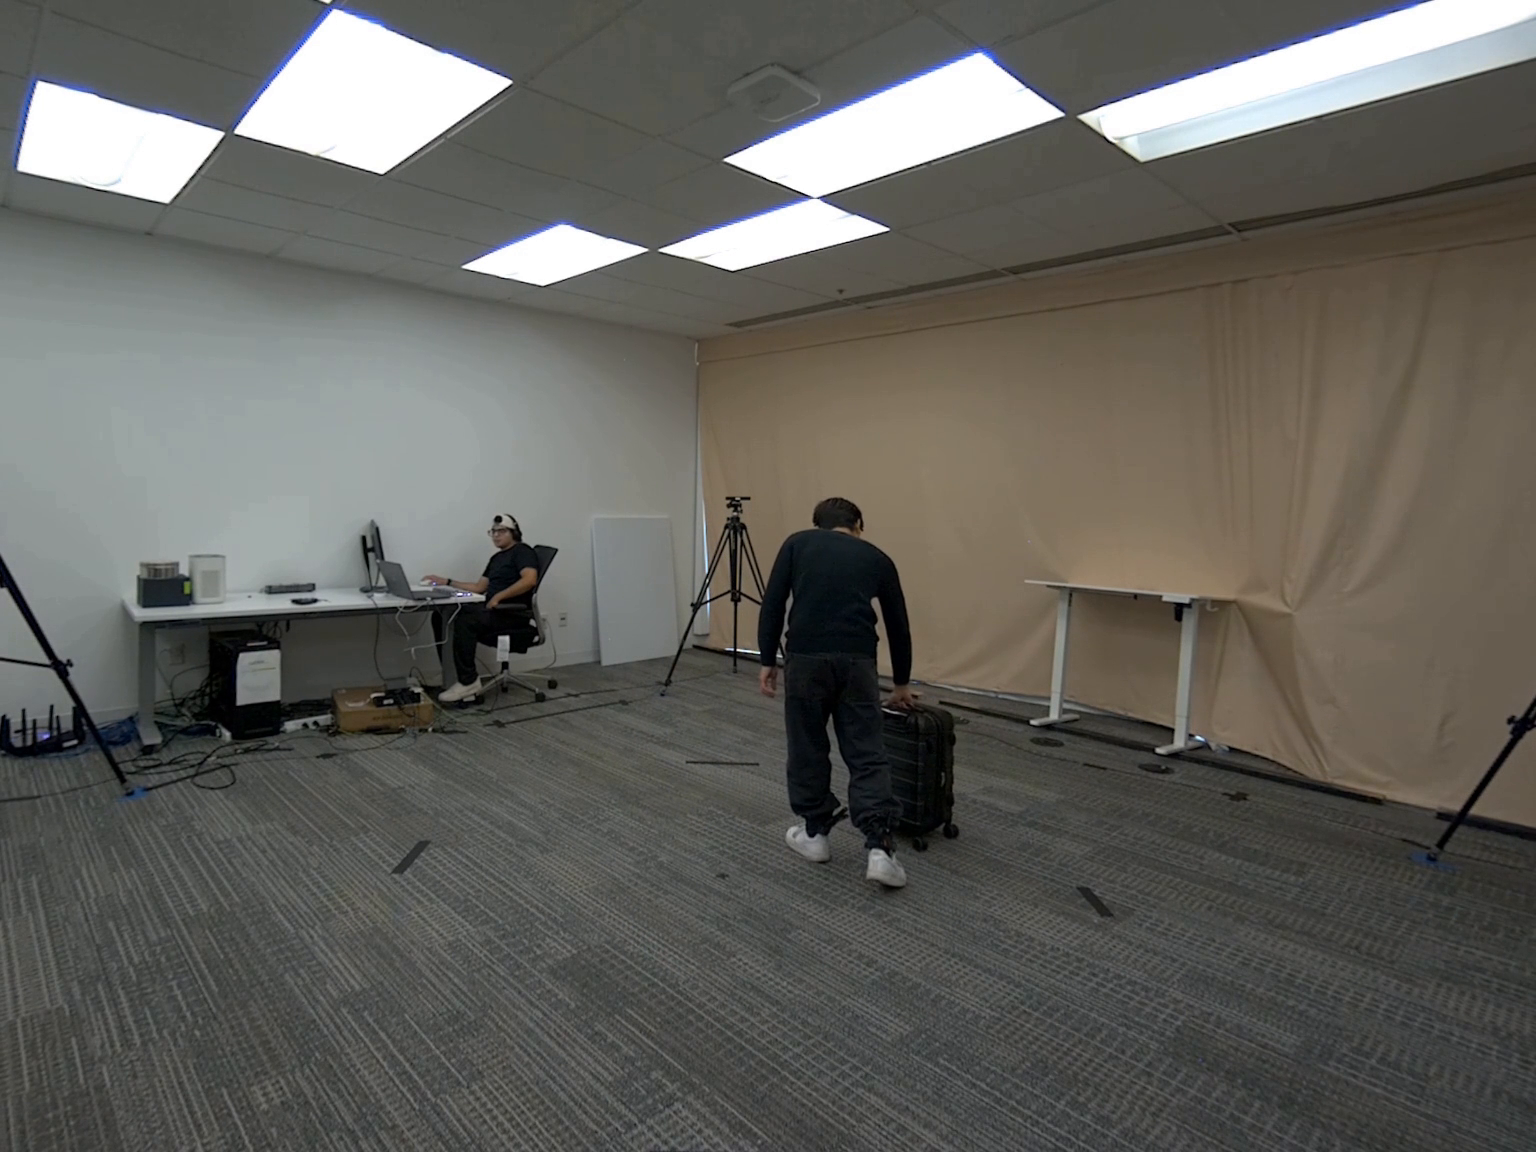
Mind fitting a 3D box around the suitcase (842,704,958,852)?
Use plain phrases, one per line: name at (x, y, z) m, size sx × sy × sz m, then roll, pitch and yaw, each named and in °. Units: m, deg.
suitcase at (0.579, 0.808, 3.574) m, size 0.242 × 0.549 × 0.384 m, roll 0°, pitch 2°, yaw -42°
